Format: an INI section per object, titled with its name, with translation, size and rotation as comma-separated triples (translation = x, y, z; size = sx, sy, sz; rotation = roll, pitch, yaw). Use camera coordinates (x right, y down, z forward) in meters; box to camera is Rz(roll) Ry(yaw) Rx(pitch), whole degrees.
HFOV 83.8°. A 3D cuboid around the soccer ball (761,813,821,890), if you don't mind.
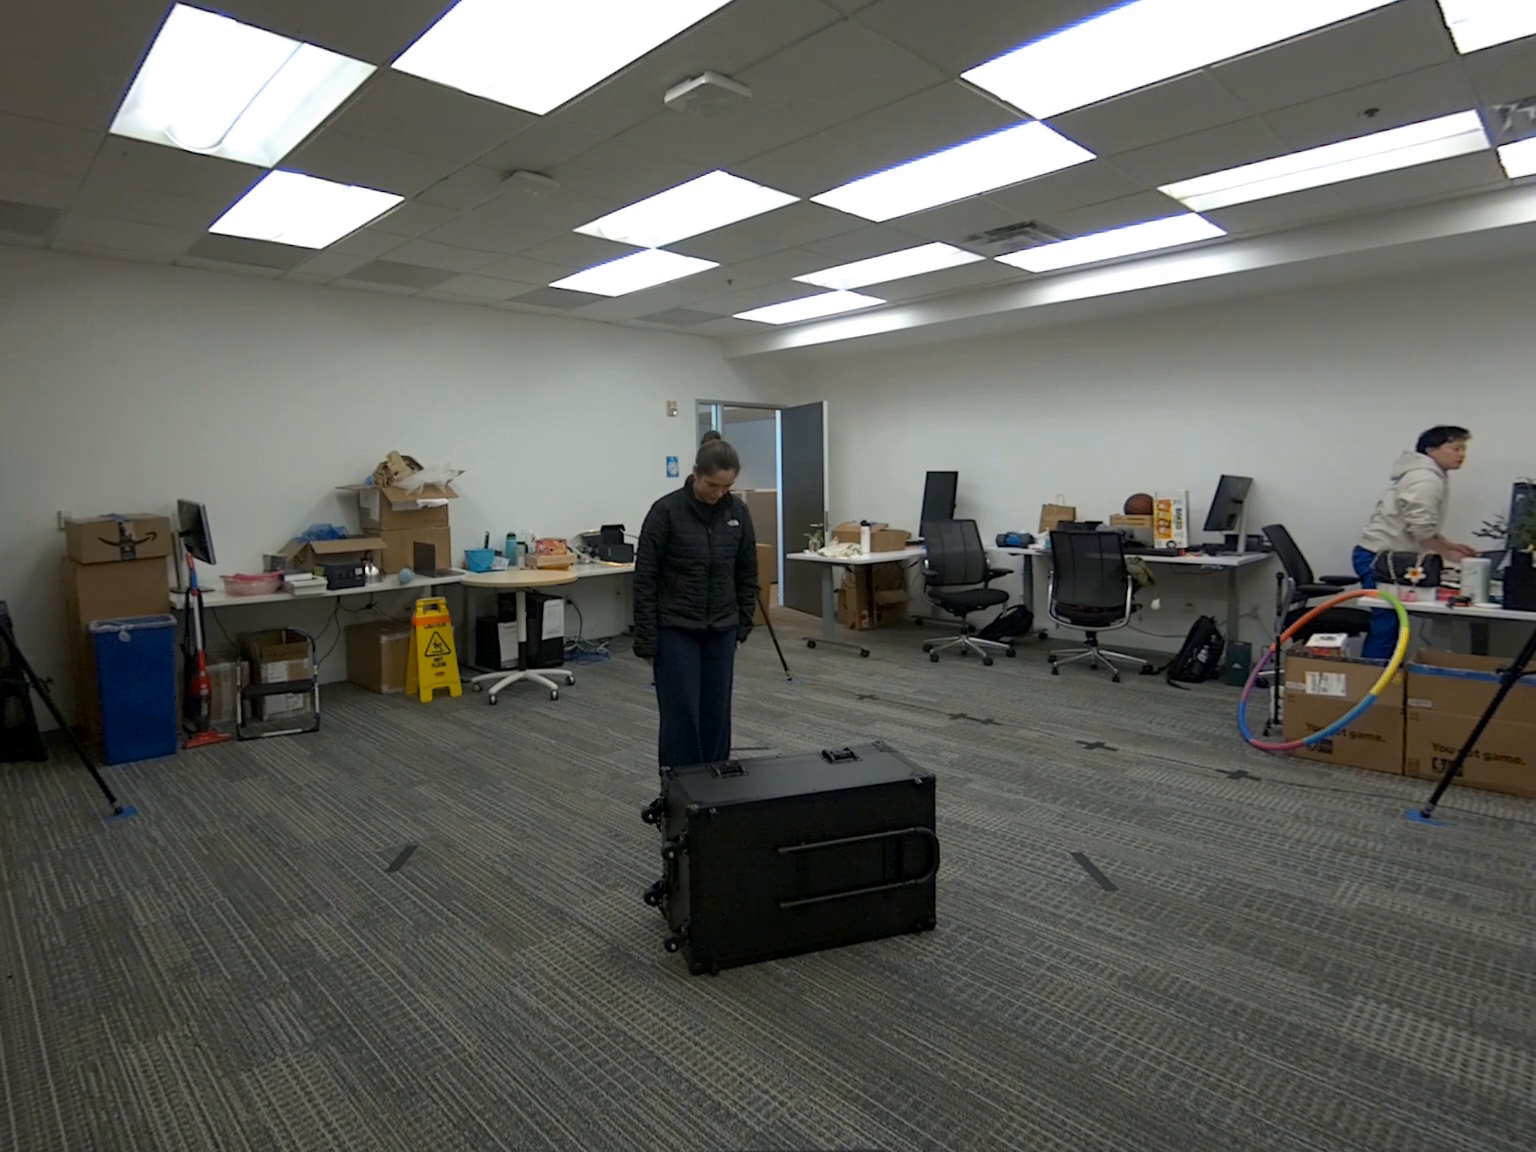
[soccer ball]
translation = 0.077, 0.956, 2.990
size = 0.187, 0.187, 0.188
rotation = -1, 5, -2
